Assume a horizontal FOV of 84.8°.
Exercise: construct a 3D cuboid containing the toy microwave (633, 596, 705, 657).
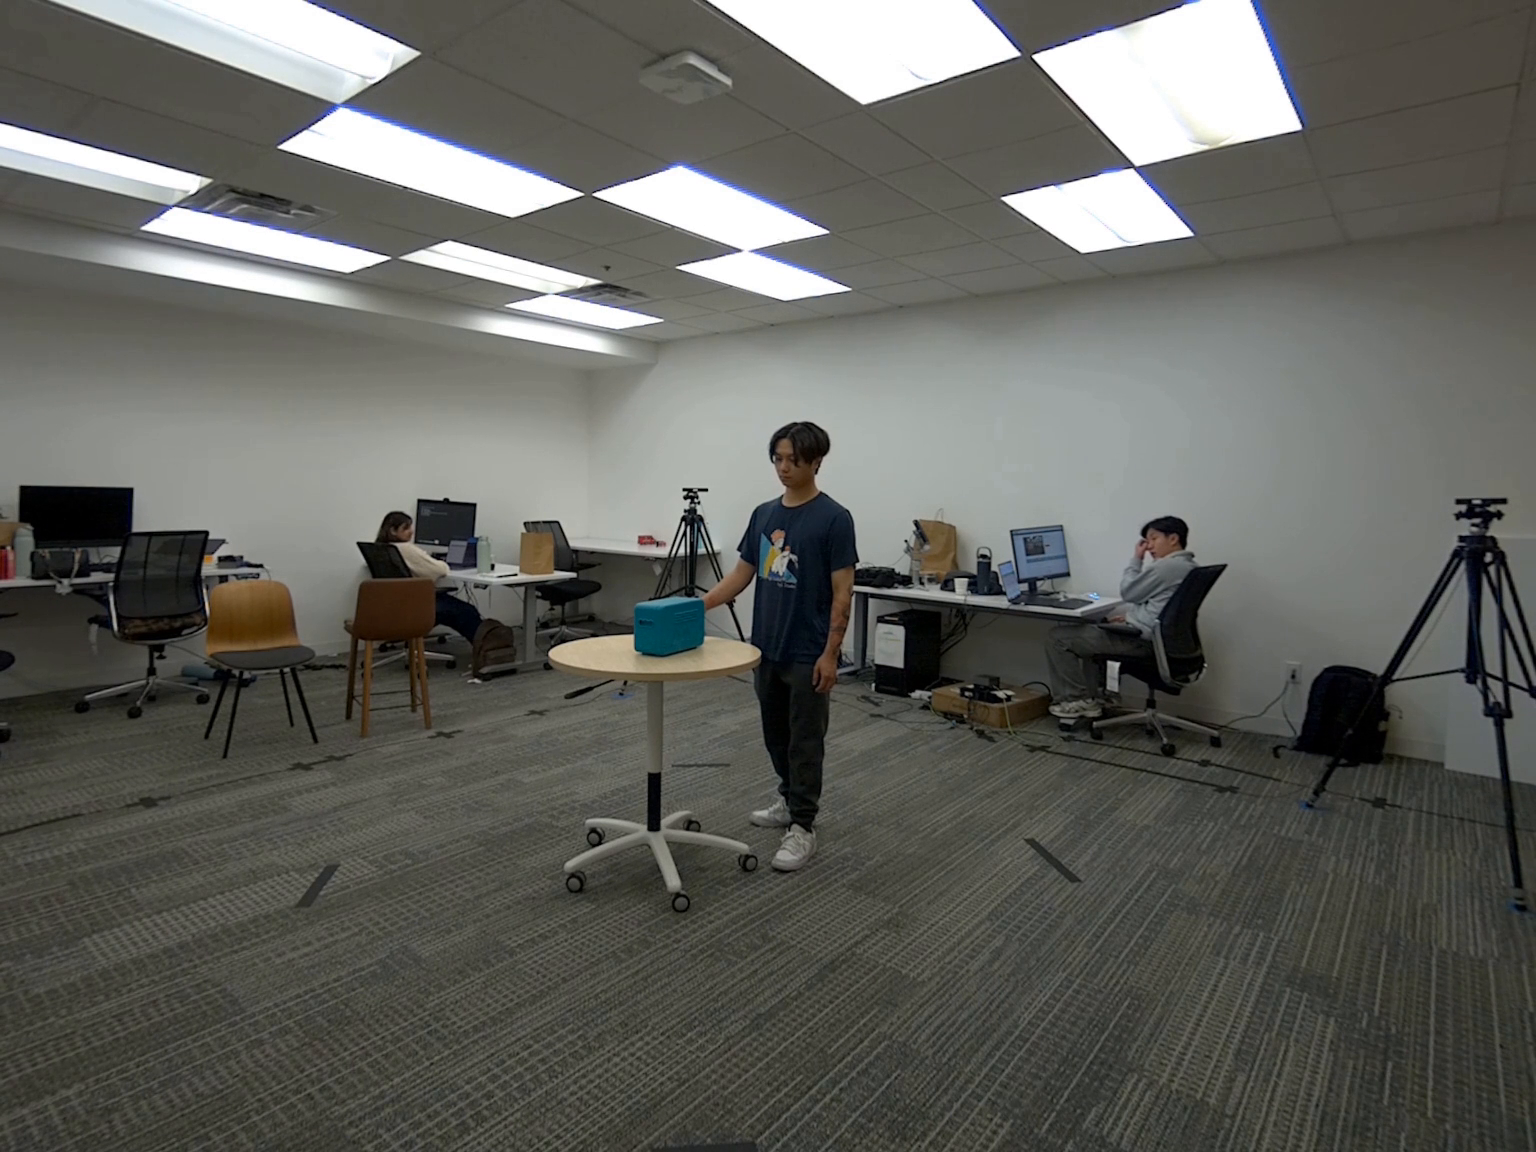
[{"bbox_3d":[-0.382,0.180,3.095,0.156,0.184,0.279,1,4,26],"label":"toy microwave"}]
